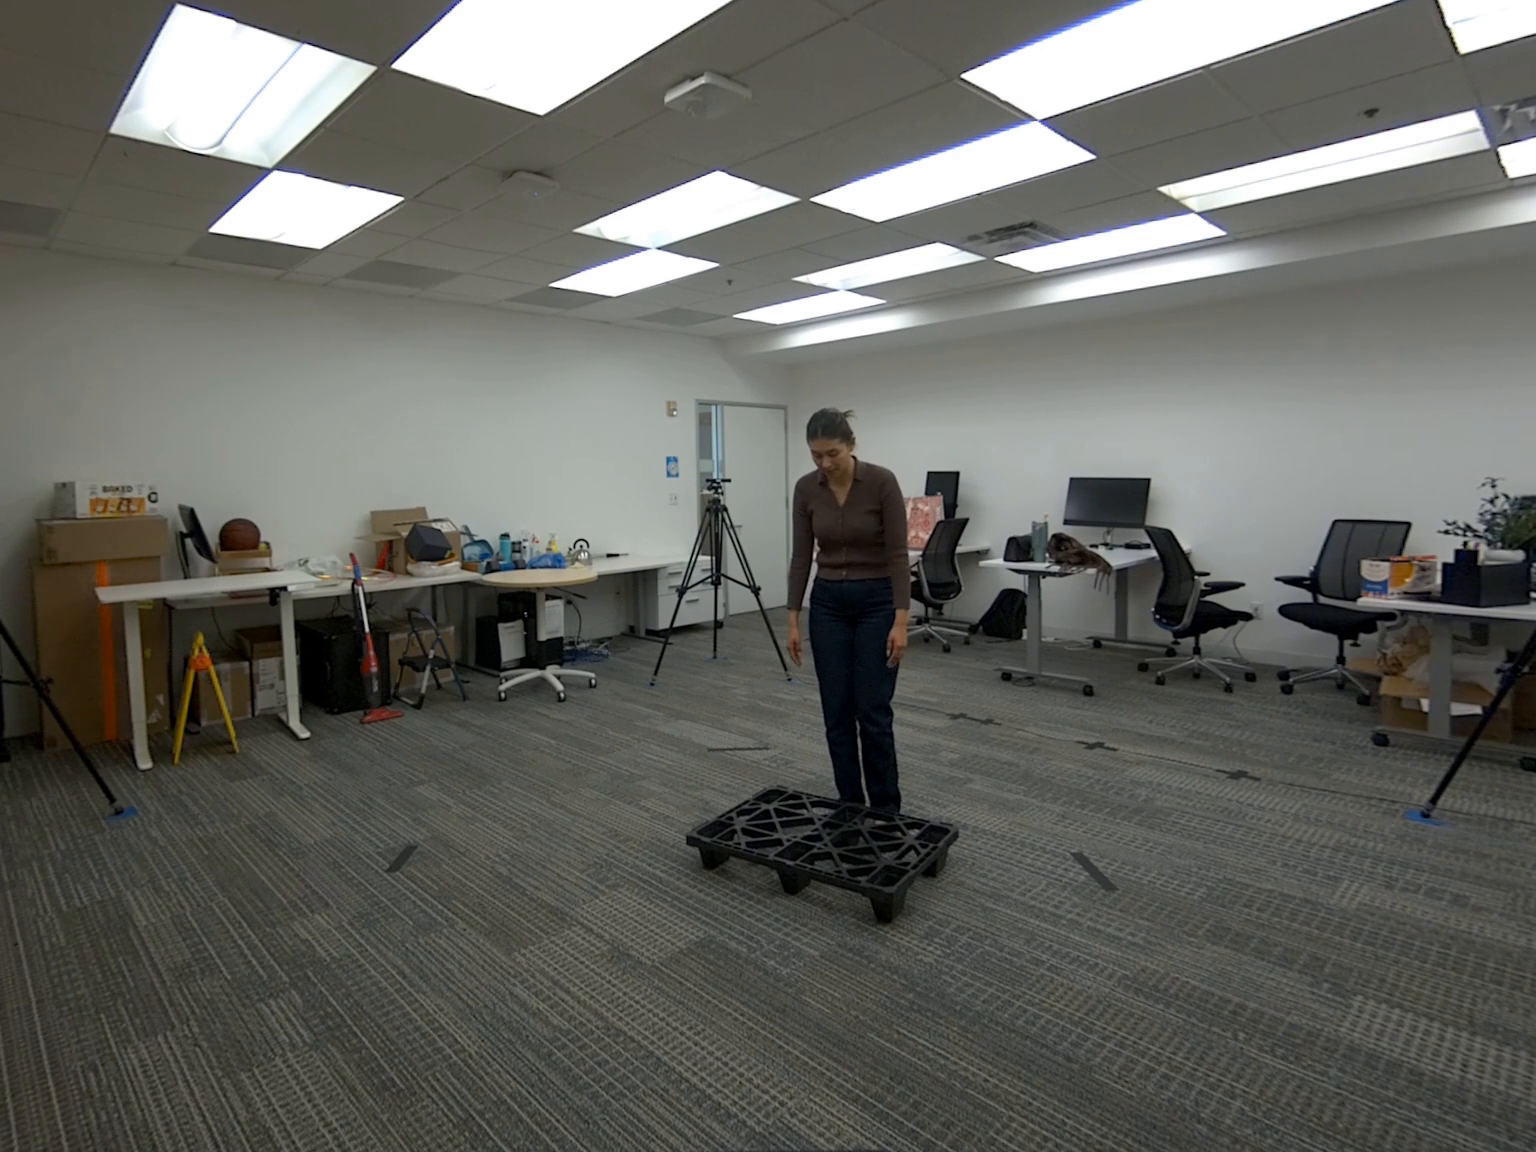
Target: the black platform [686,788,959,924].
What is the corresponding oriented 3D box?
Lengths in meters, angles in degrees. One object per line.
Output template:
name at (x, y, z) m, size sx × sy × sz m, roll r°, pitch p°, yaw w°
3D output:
black platform at (0.198, 0.978, 3.057) m, size 0.828 × 0.142 × 0.591 m, roll 3°, pitch 8°, yaw 34°
